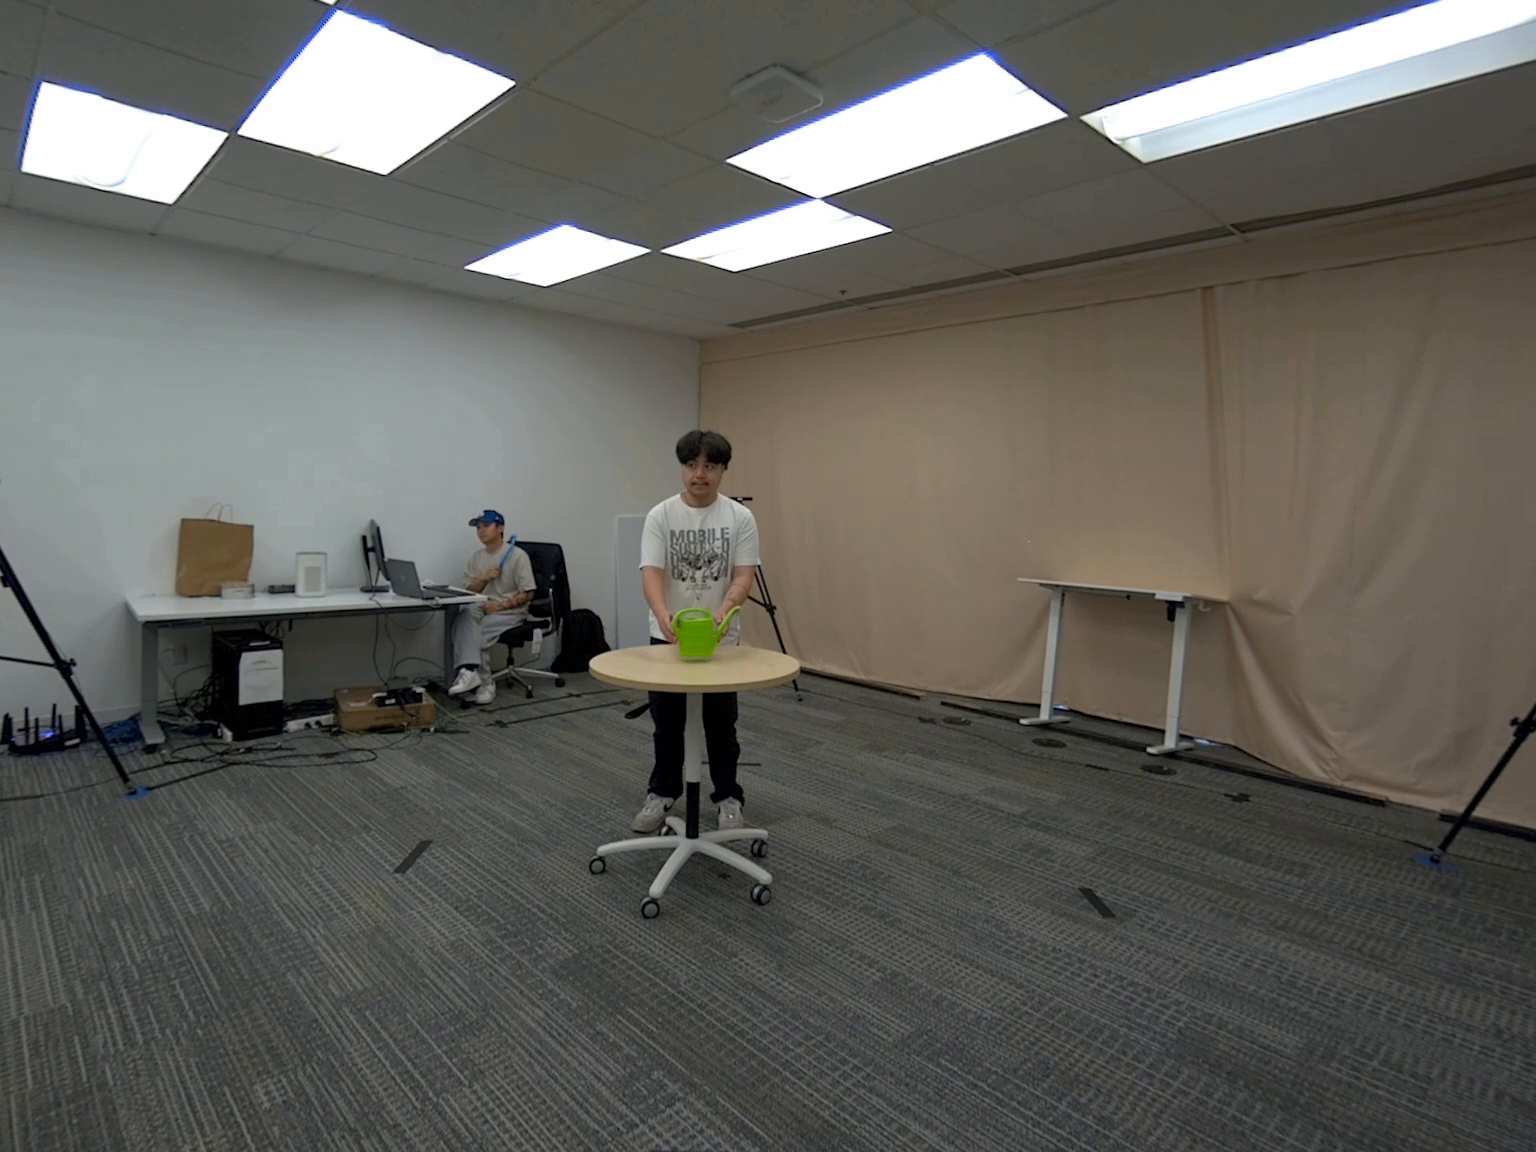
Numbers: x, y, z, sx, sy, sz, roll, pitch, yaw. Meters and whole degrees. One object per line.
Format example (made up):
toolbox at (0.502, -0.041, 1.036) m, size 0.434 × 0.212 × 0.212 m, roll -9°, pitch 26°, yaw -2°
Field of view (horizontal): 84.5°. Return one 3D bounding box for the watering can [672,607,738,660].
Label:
watering can at (-0.233, 0.210, 3.096) m, size 0.275 × 0.176 × 0.099 m, roll 0°, pitch 4°, yaw -14°
